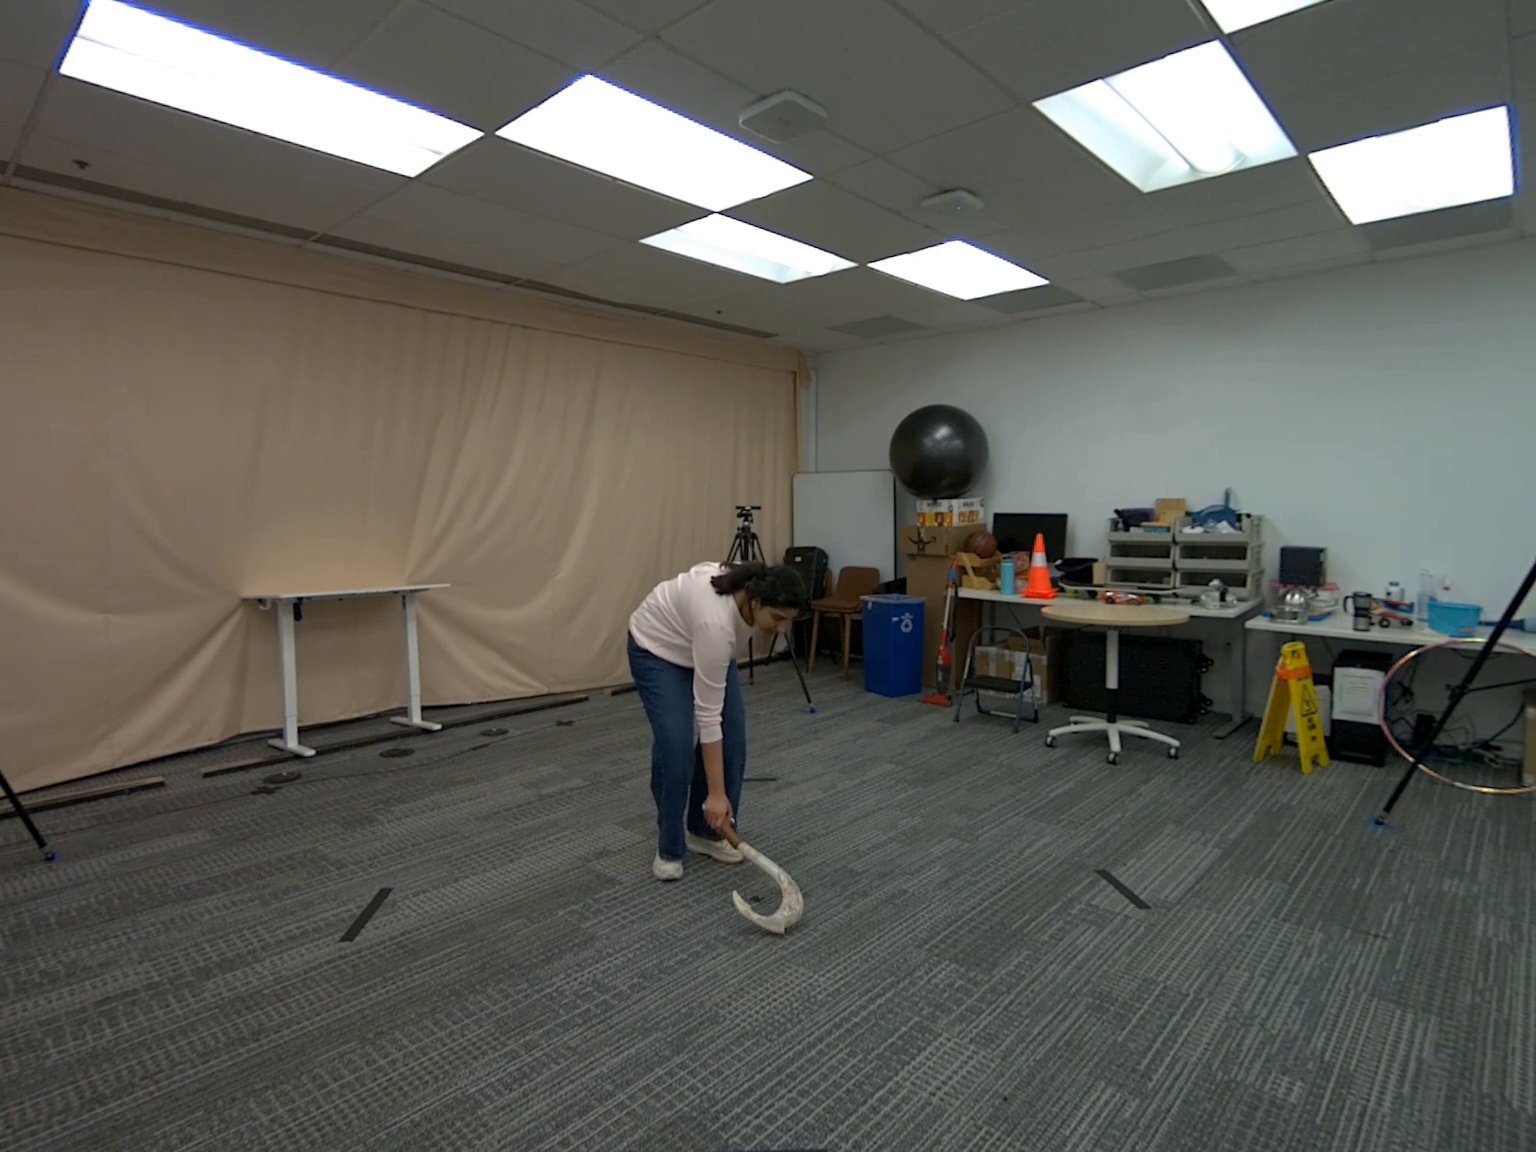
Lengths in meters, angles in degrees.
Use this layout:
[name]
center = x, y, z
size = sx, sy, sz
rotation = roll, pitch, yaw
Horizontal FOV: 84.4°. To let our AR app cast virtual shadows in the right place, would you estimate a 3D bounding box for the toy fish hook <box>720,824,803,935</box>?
[toy fish hook]
center = -0.087, 0.973, 2.851
size = 0.522, 0.048, 0.220
rotation = 39, 41, 27
